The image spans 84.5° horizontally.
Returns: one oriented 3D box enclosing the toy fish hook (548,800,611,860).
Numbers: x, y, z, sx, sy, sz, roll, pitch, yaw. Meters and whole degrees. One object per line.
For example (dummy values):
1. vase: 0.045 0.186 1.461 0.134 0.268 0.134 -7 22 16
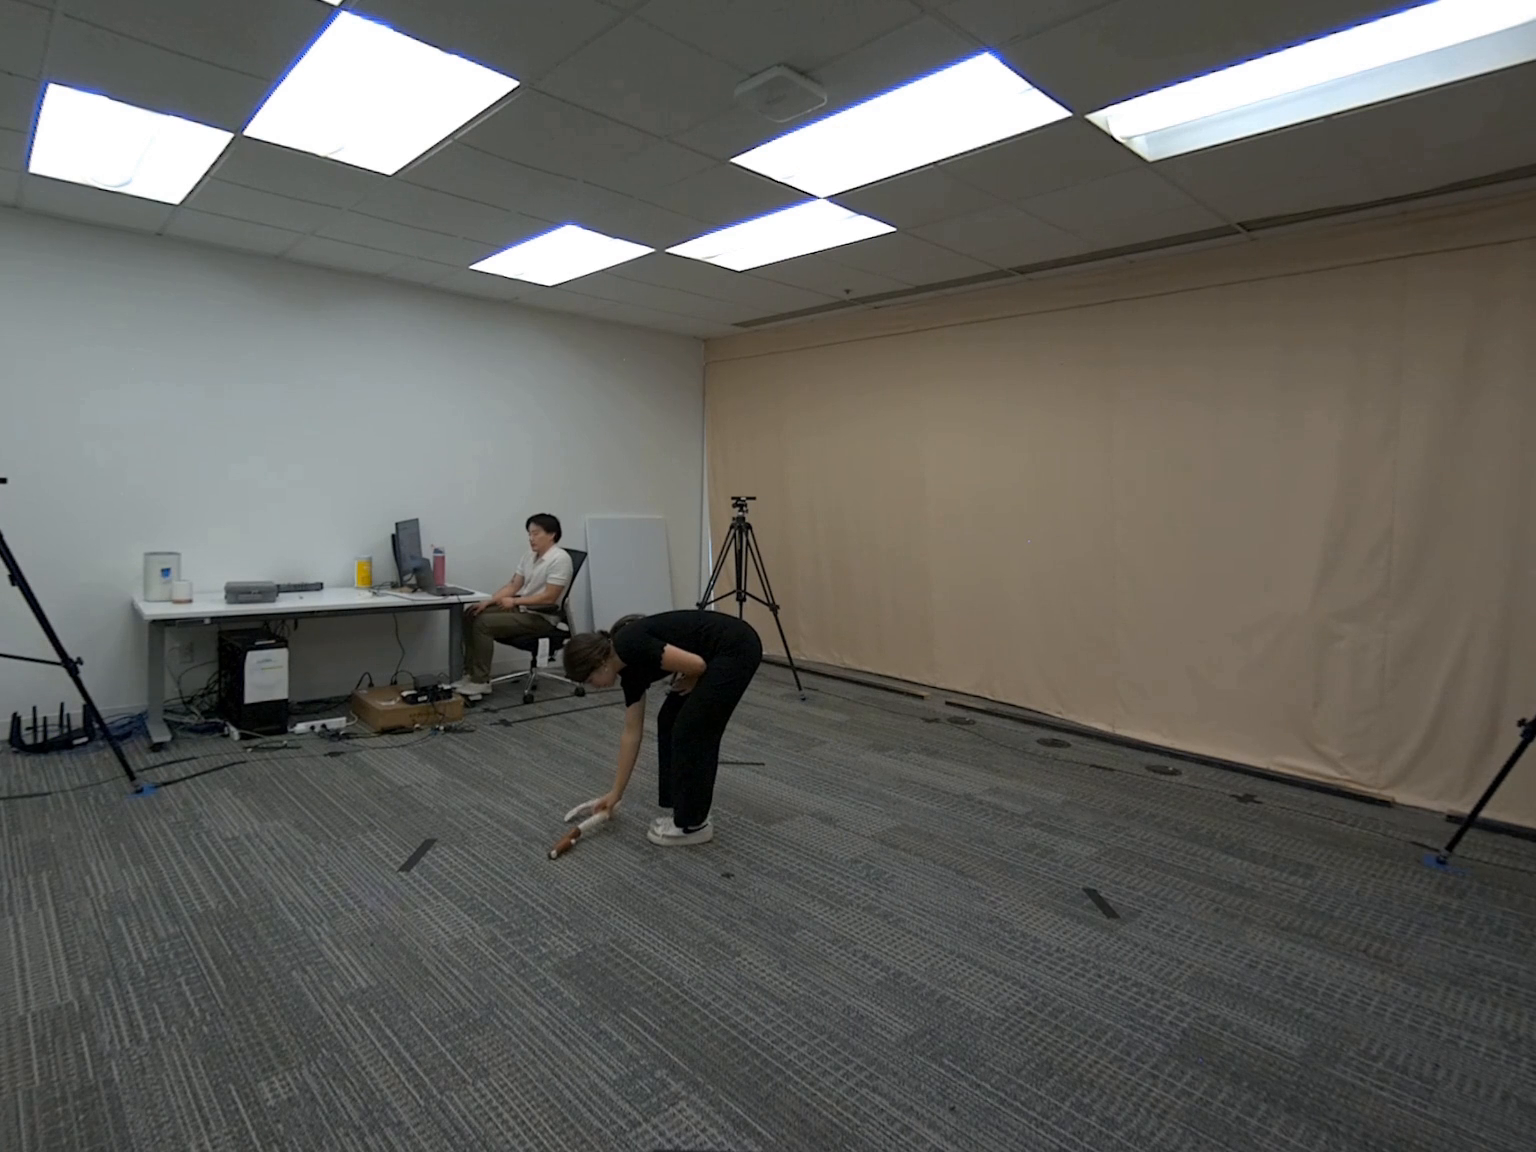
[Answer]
1. toy fish hook: -0.796 1.027 3.448 0.227 0.048 0.502 -12 6 21
